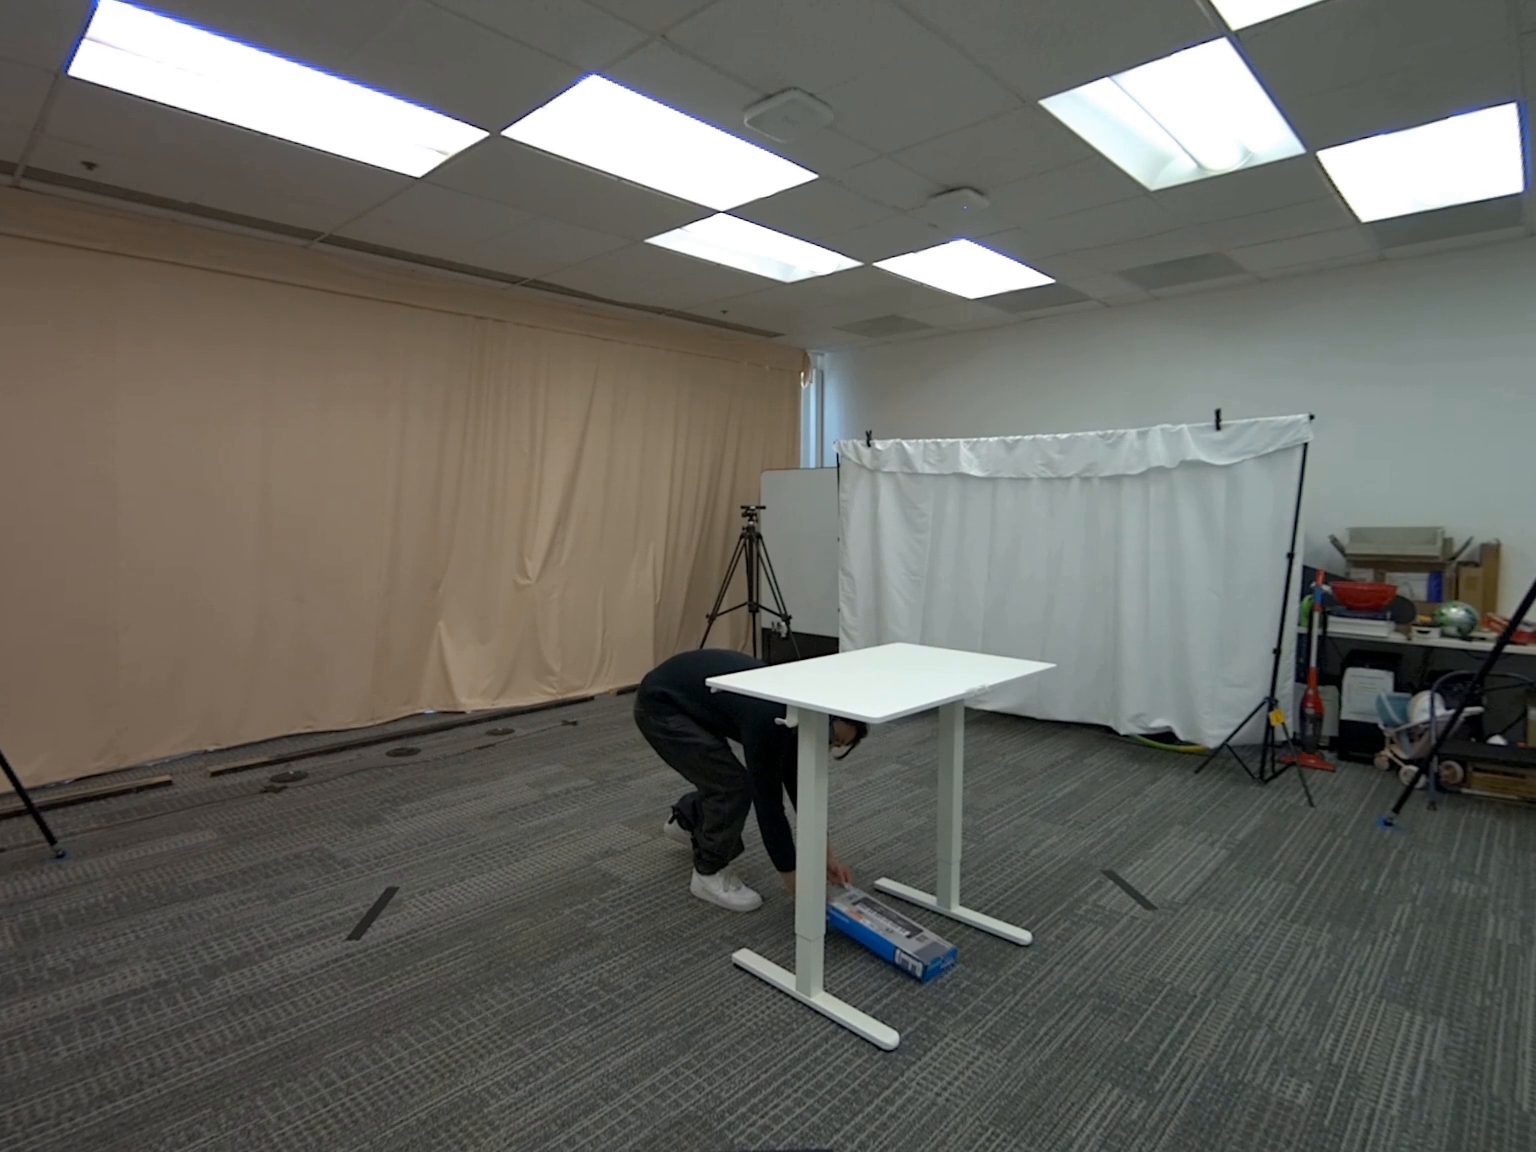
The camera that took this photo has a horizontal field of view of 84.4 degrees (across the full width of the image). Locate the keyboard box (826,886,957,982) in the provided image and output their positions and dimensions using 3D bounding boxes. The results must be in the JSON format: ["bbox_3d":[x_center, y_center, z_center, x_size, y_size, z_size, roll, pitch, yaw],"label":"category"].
[{"bbox_3d":[0.359,1.111,2.642,0.453,0.059,0.170,15,10,43],"label":"keyboard box"}]
